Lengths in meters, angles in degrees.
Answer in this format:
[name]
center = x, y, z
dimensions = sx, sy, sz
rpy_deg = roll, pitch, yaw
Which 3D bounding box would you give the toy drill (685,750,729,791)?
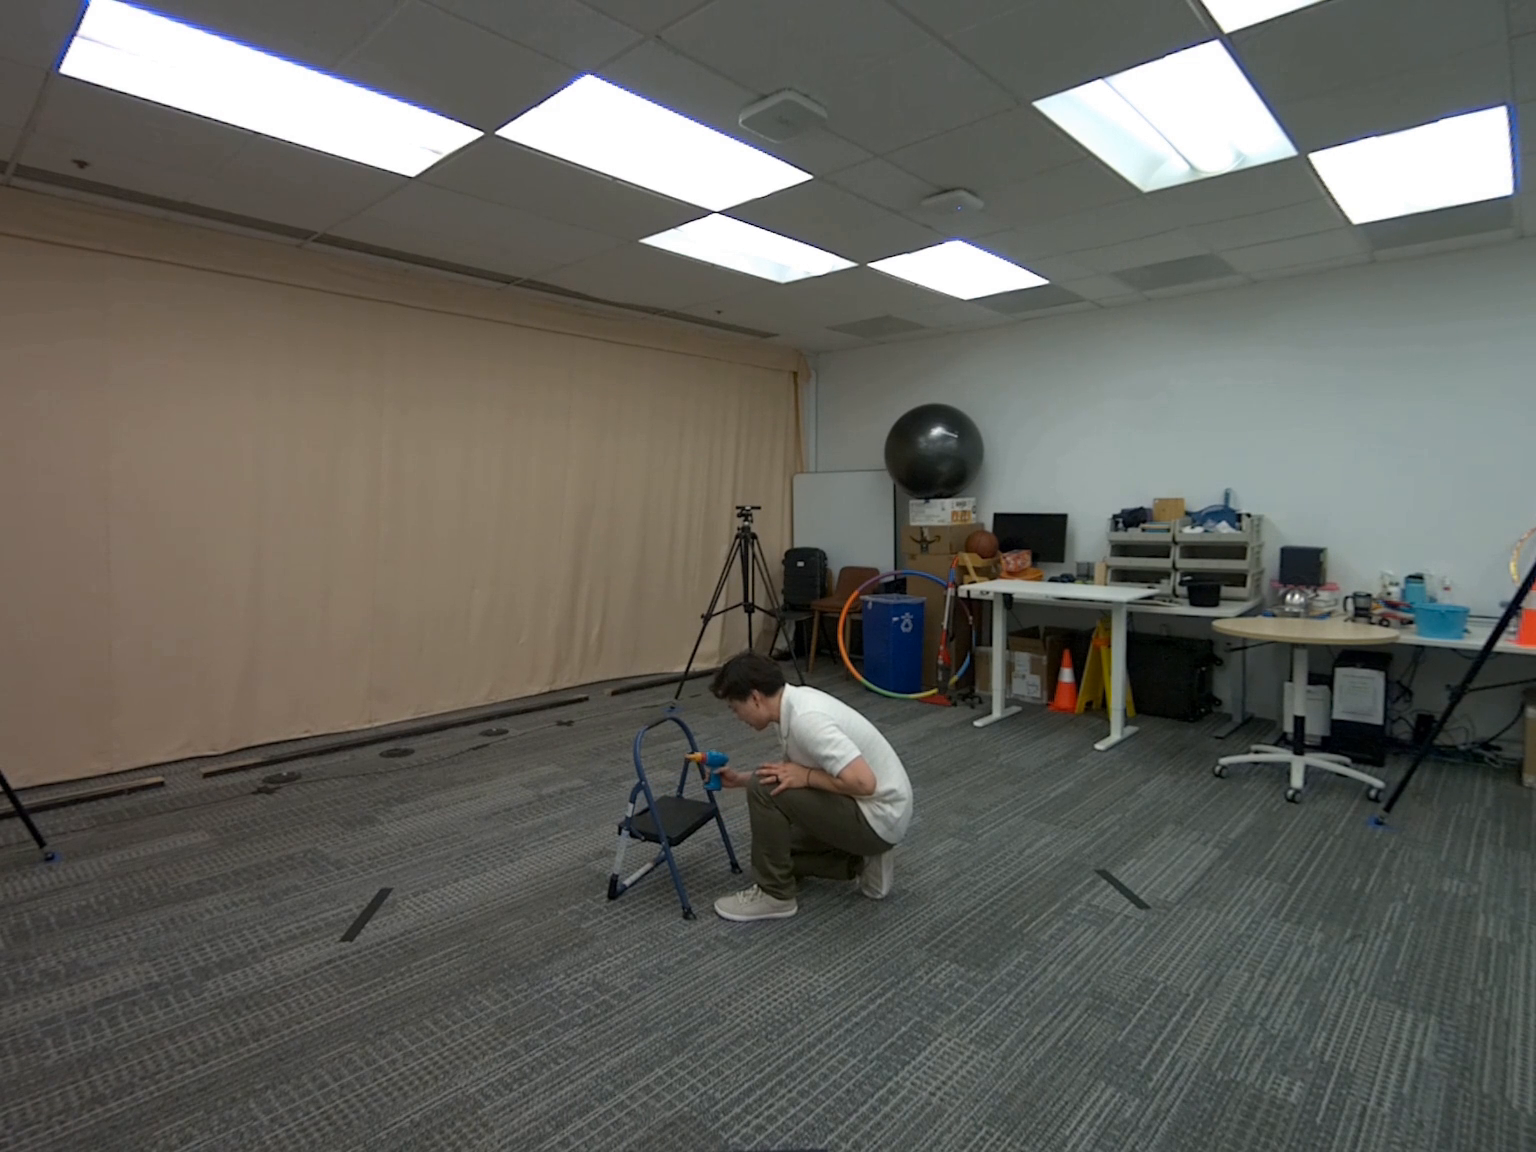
[toy drill]
center = -0.217, 0.721, 3.151
dimensions = 0.168, 0.146, 0.061
rpy_deg = 12, -8, -10
